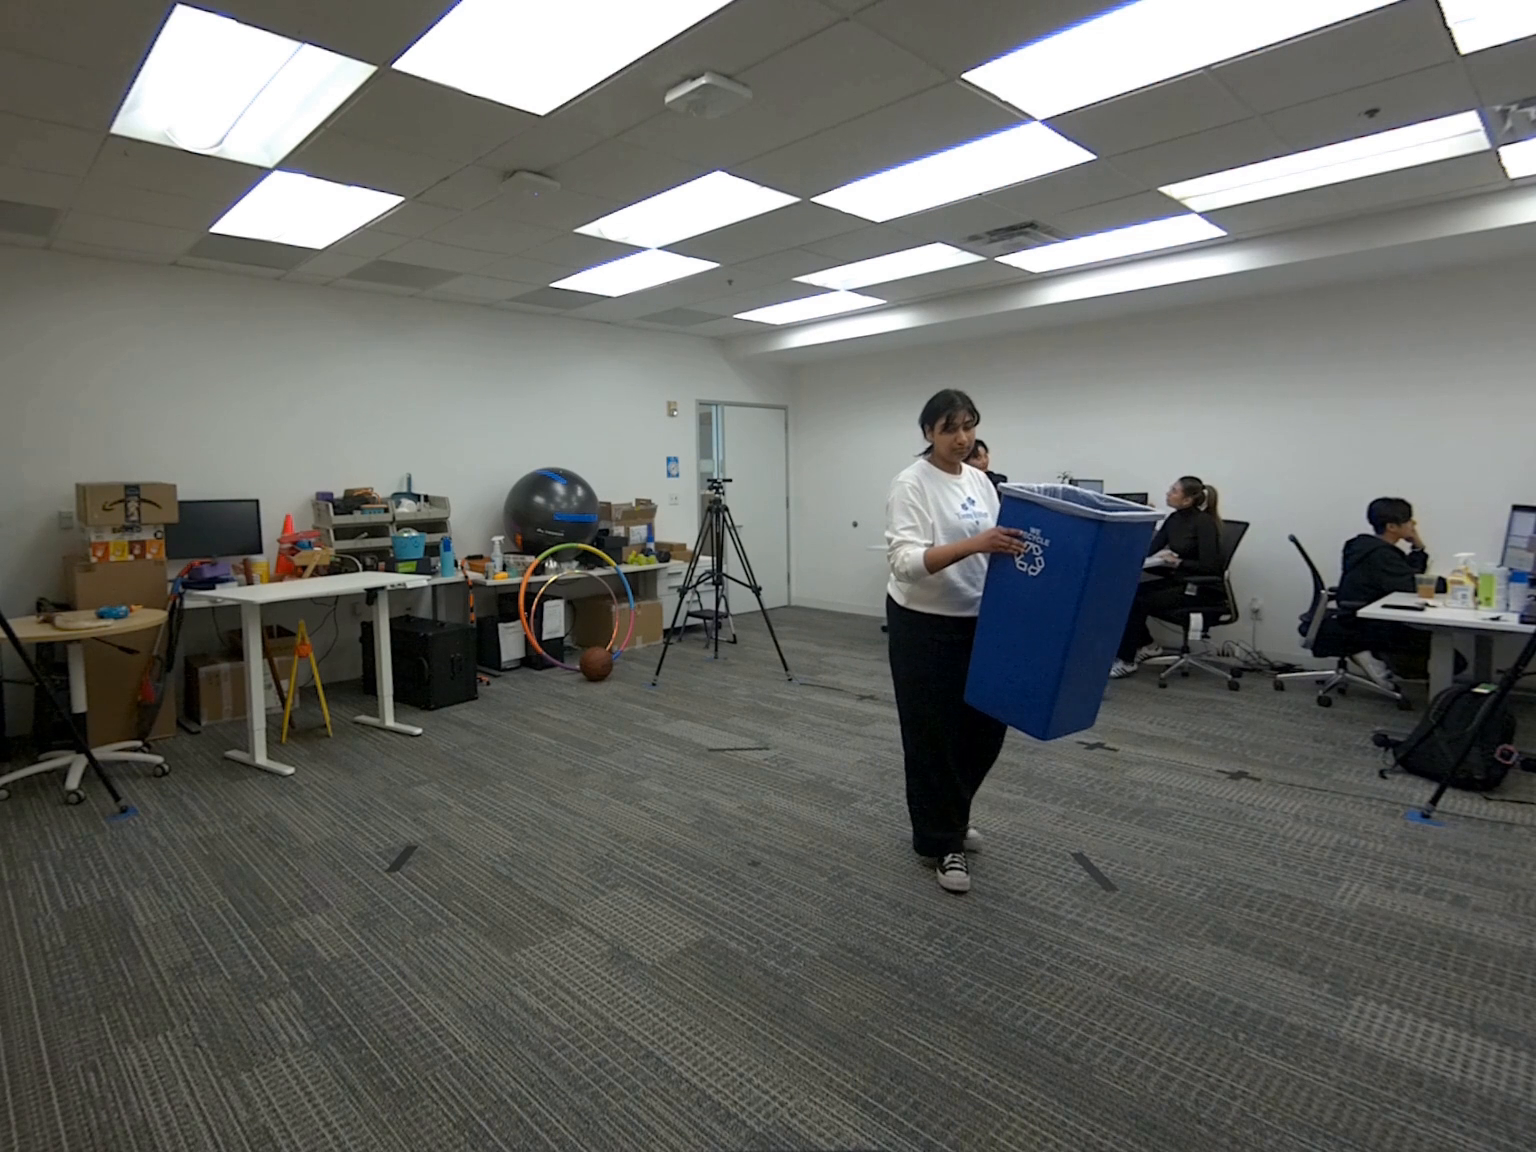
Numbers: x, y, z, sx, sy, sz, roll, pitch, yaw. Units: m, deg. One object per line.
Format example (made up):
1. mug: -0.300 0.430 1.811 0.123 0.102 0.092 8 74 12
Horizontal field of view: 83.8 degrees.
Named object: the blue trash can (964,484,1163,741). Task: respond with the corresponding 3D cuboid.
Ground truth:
1. blue trash can: 0.902 0.103 2.652 0.368 0.706 0.388 -3 17 -40
